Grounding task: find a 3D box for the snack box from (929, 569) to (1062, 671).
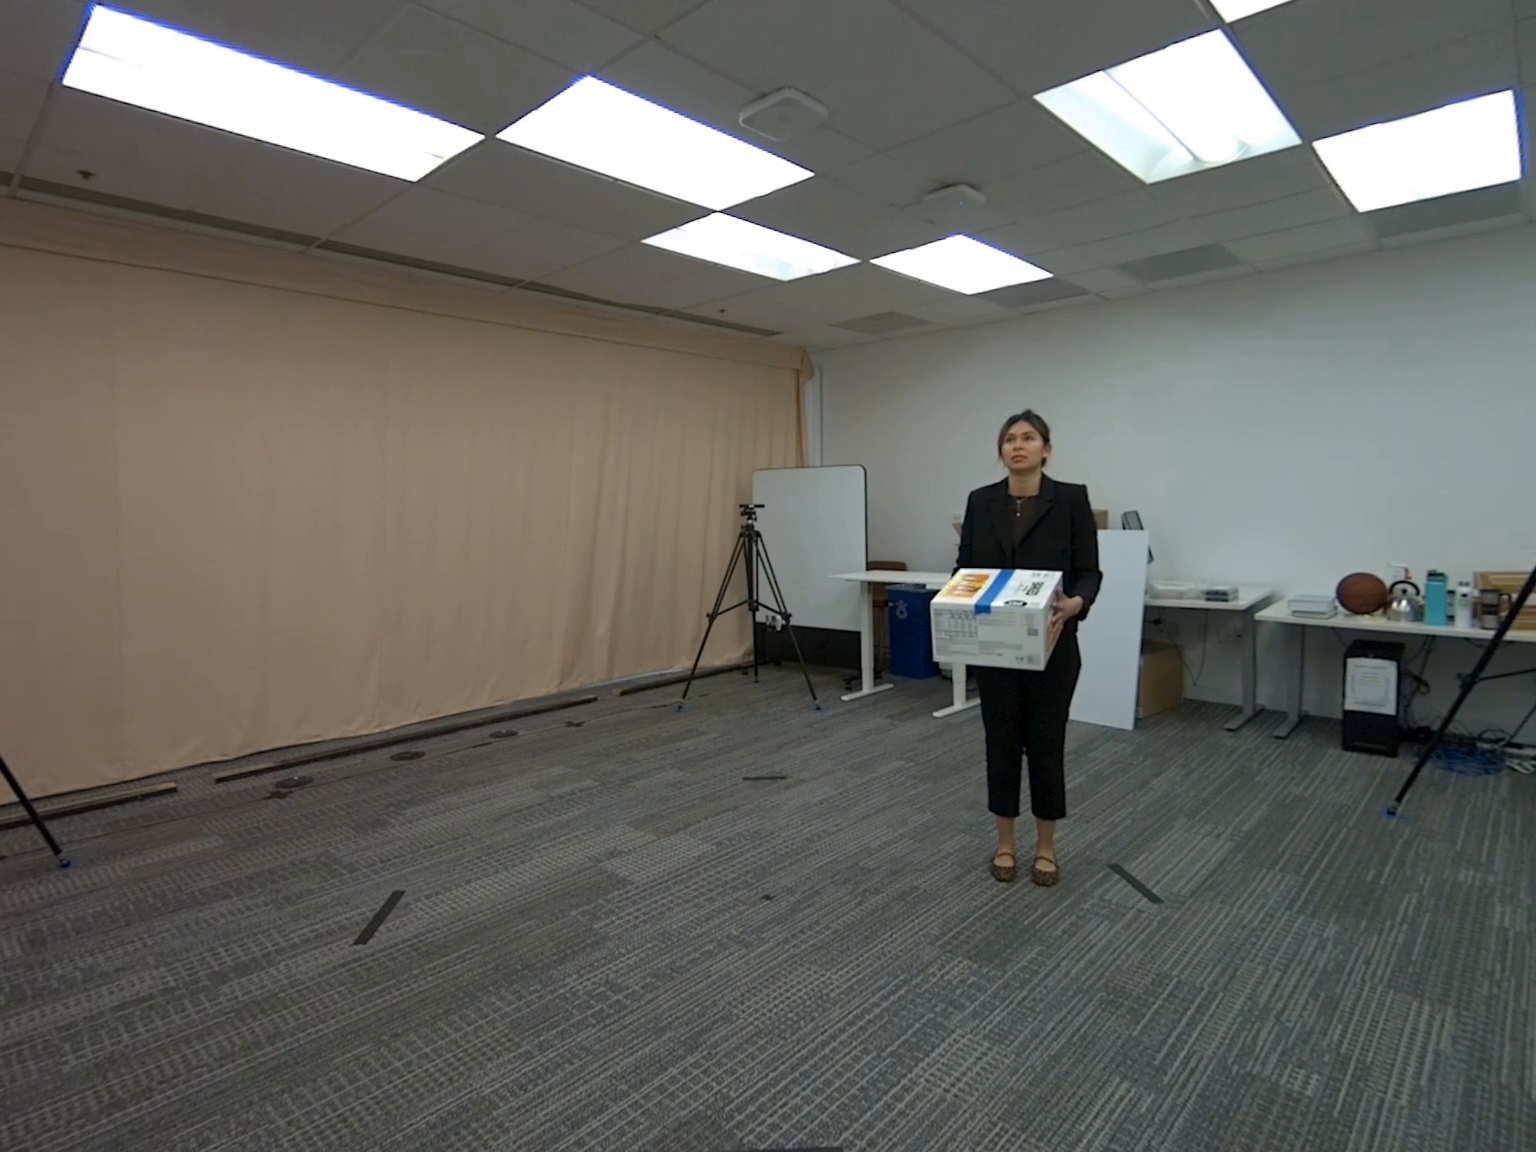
[{"bbox_3d":[0.768,0.129,2.769,0.350,0.203,0.398,2,16,28],"label":"snack box"}]
